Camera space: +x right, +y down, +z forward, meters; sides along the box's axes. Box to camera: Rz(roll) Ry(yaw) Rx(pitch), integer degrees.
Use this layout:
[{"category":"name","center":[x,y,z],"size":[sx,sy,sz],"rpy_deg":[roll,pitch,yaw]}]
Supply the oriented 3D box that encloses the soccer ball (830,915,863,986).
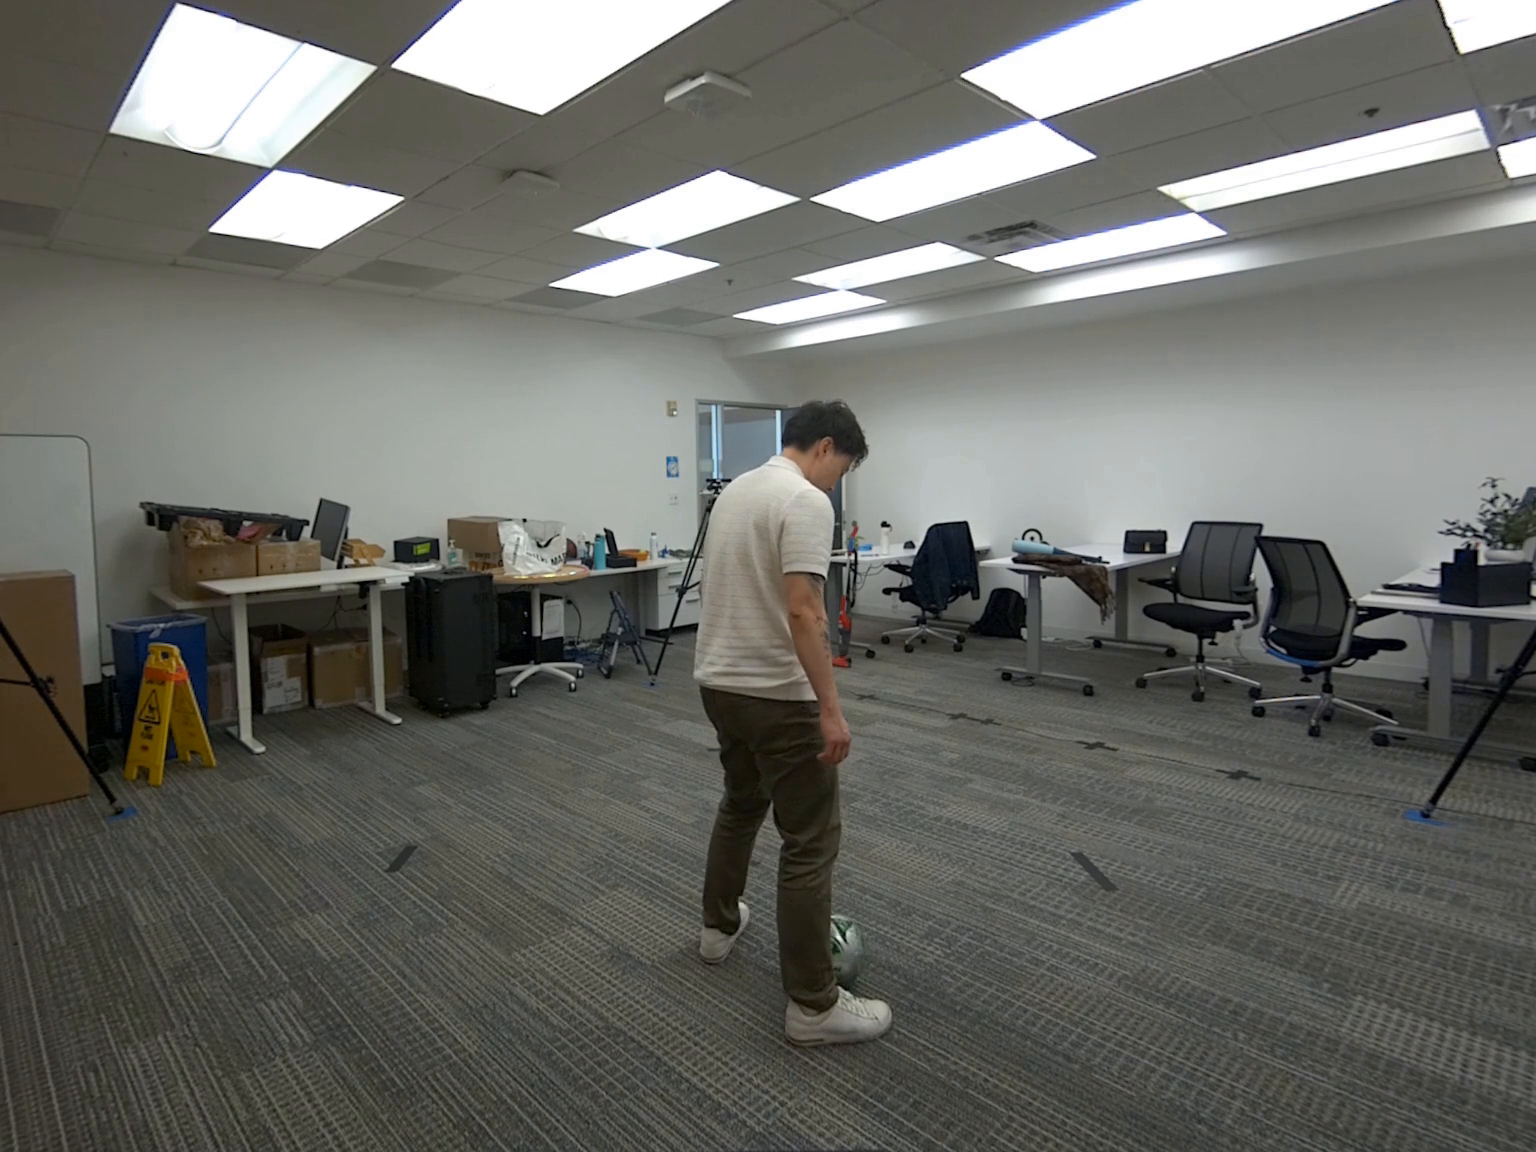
[{"category":"soccer ball","center":[0.184,1.033,2.356],"size":[0.187,0.187,0.188],"rpy_deg":[-1,5,-2]}]
